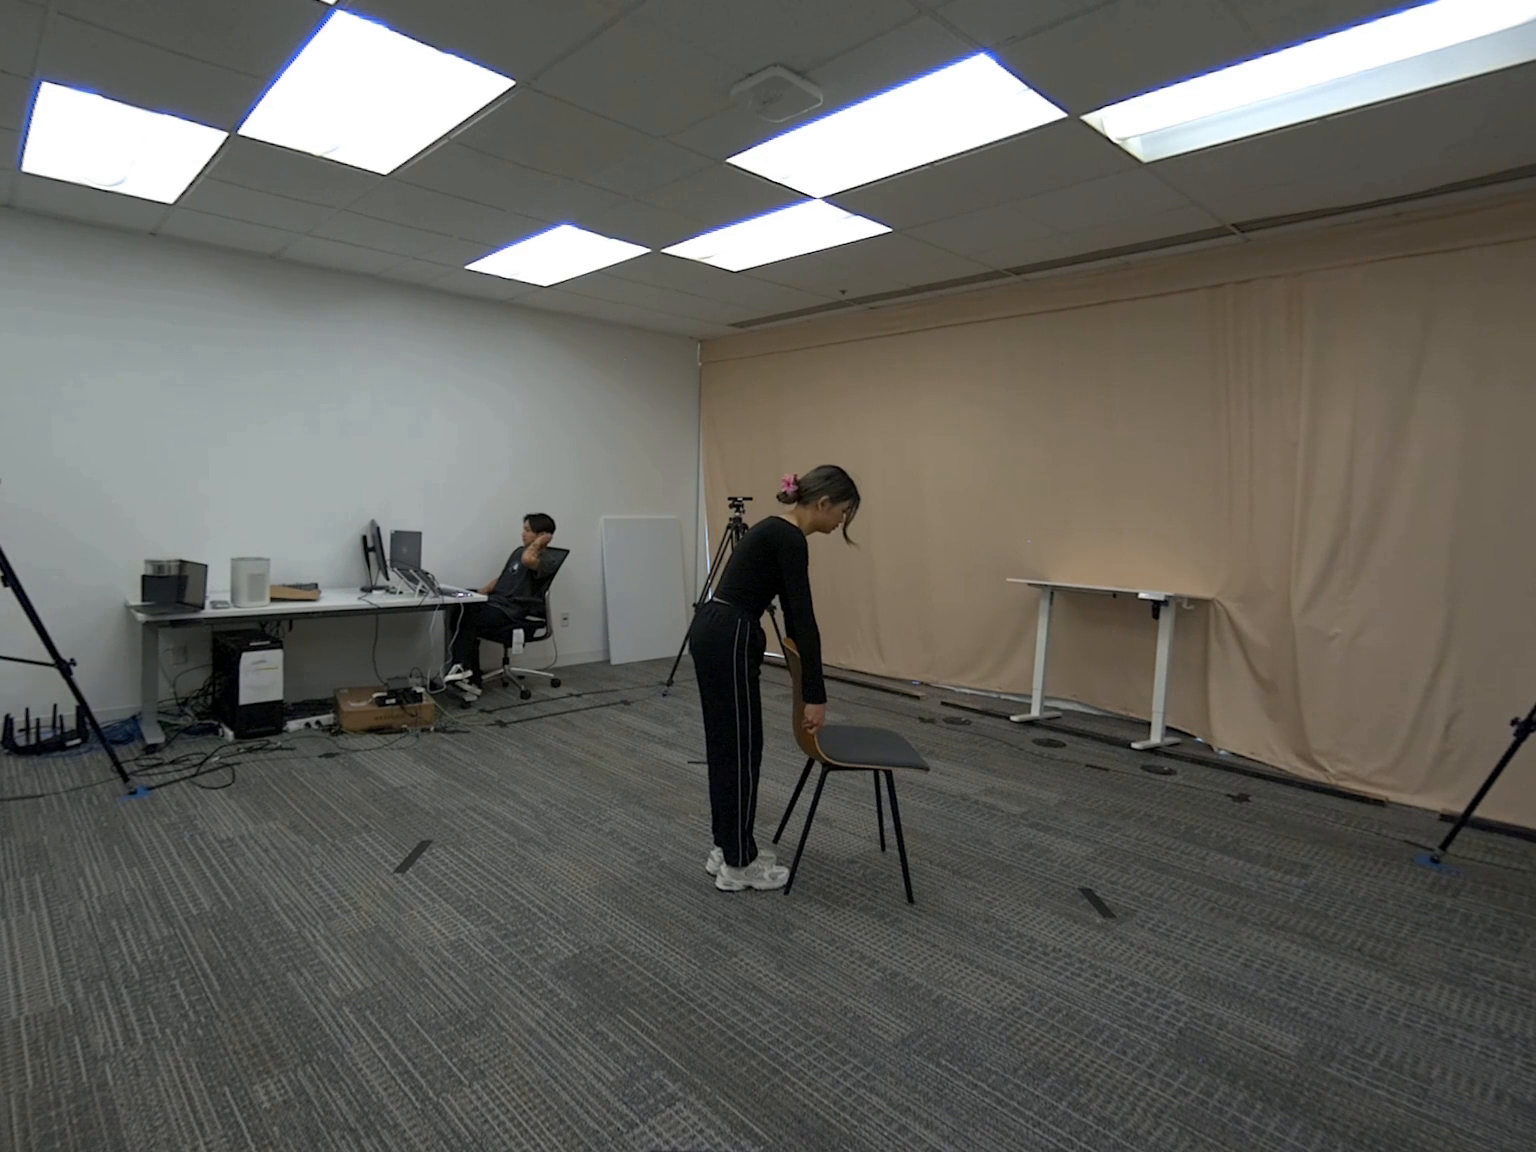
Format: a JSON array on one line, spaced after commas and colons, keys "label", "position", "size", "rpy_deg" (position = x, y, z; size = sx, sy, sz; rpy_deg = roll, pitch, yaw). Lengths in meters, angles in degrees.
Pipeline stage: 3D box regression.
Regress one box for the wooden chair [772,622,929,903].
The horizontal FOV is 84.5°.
[{"label": "wooden chair", "position": [0.300, 0.673, 3.110], "size": [0.521, 0.876, 0.480], "rpy_deg": [0, 3, -4]}]
